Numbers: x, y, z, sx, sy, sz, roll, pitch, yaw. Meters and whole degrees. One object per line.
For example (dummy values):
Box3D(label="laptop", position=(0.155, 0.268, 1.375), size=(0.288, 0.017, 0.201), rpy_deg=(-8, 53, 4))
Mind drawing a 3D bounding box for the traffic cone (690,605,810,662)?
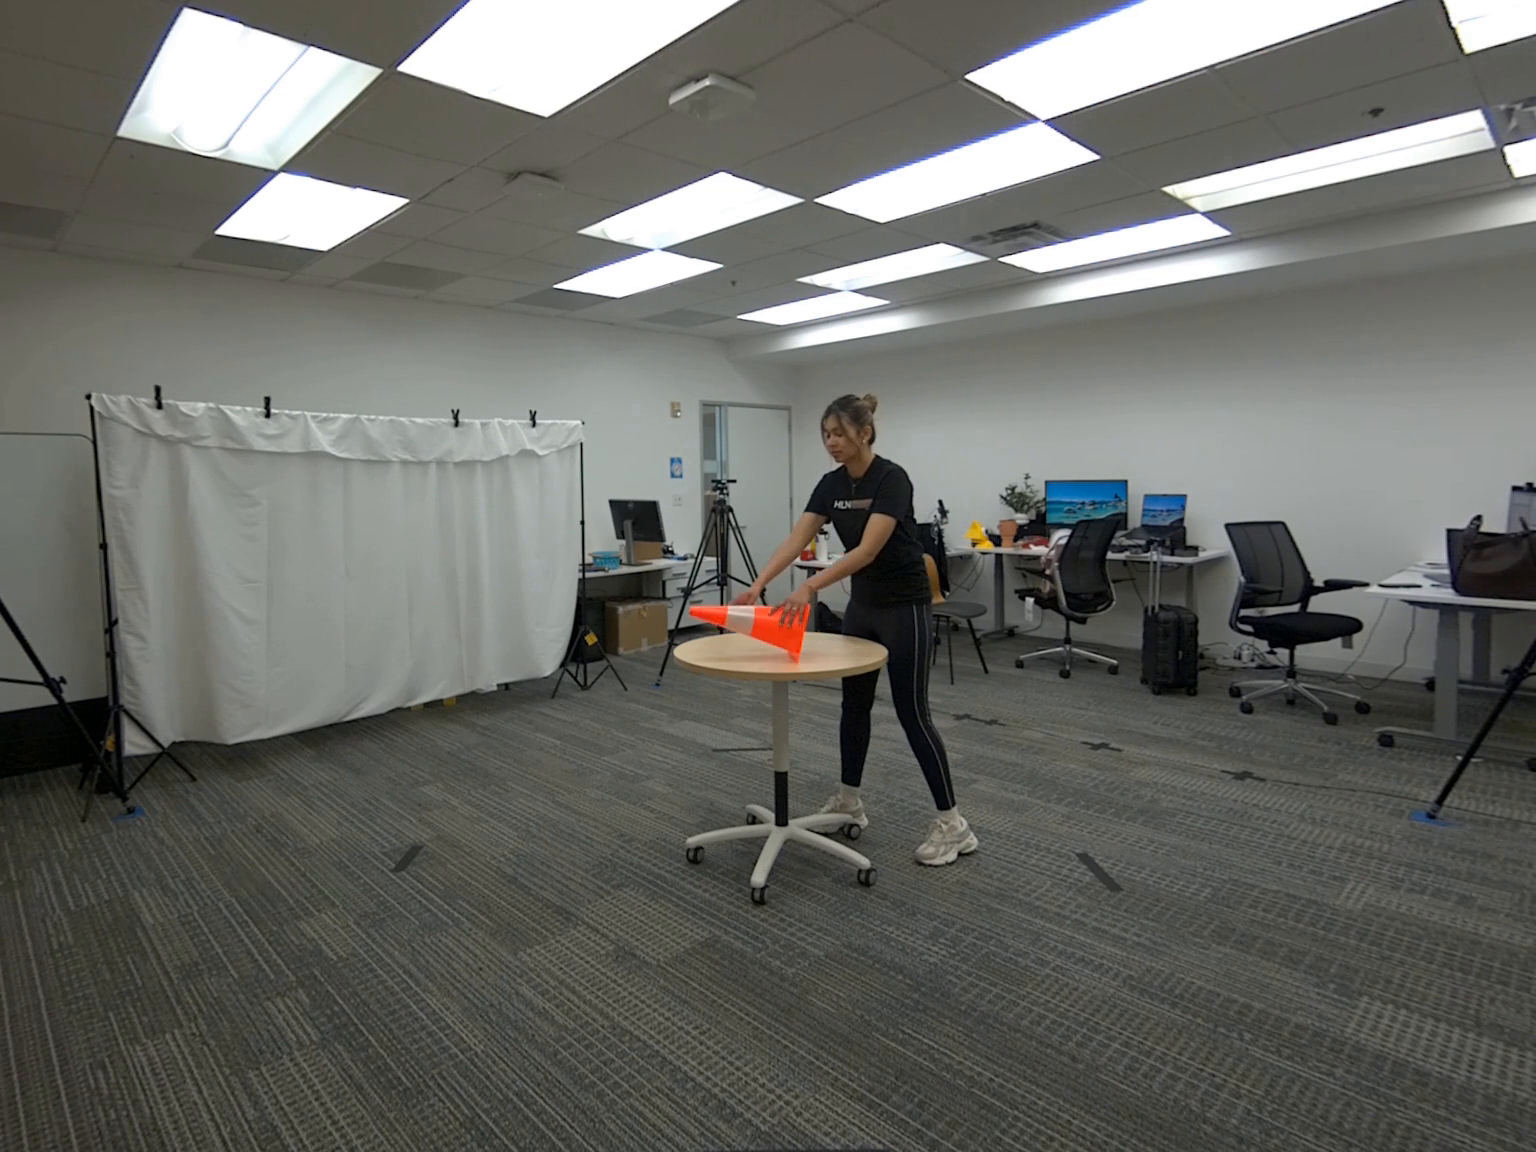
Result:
Box3D(label="traffic cone", position=(-0.072, 0.150, 2.909), size=(0.384, 0.202, 0.206), rpy_deg=(11, 6, -1))
